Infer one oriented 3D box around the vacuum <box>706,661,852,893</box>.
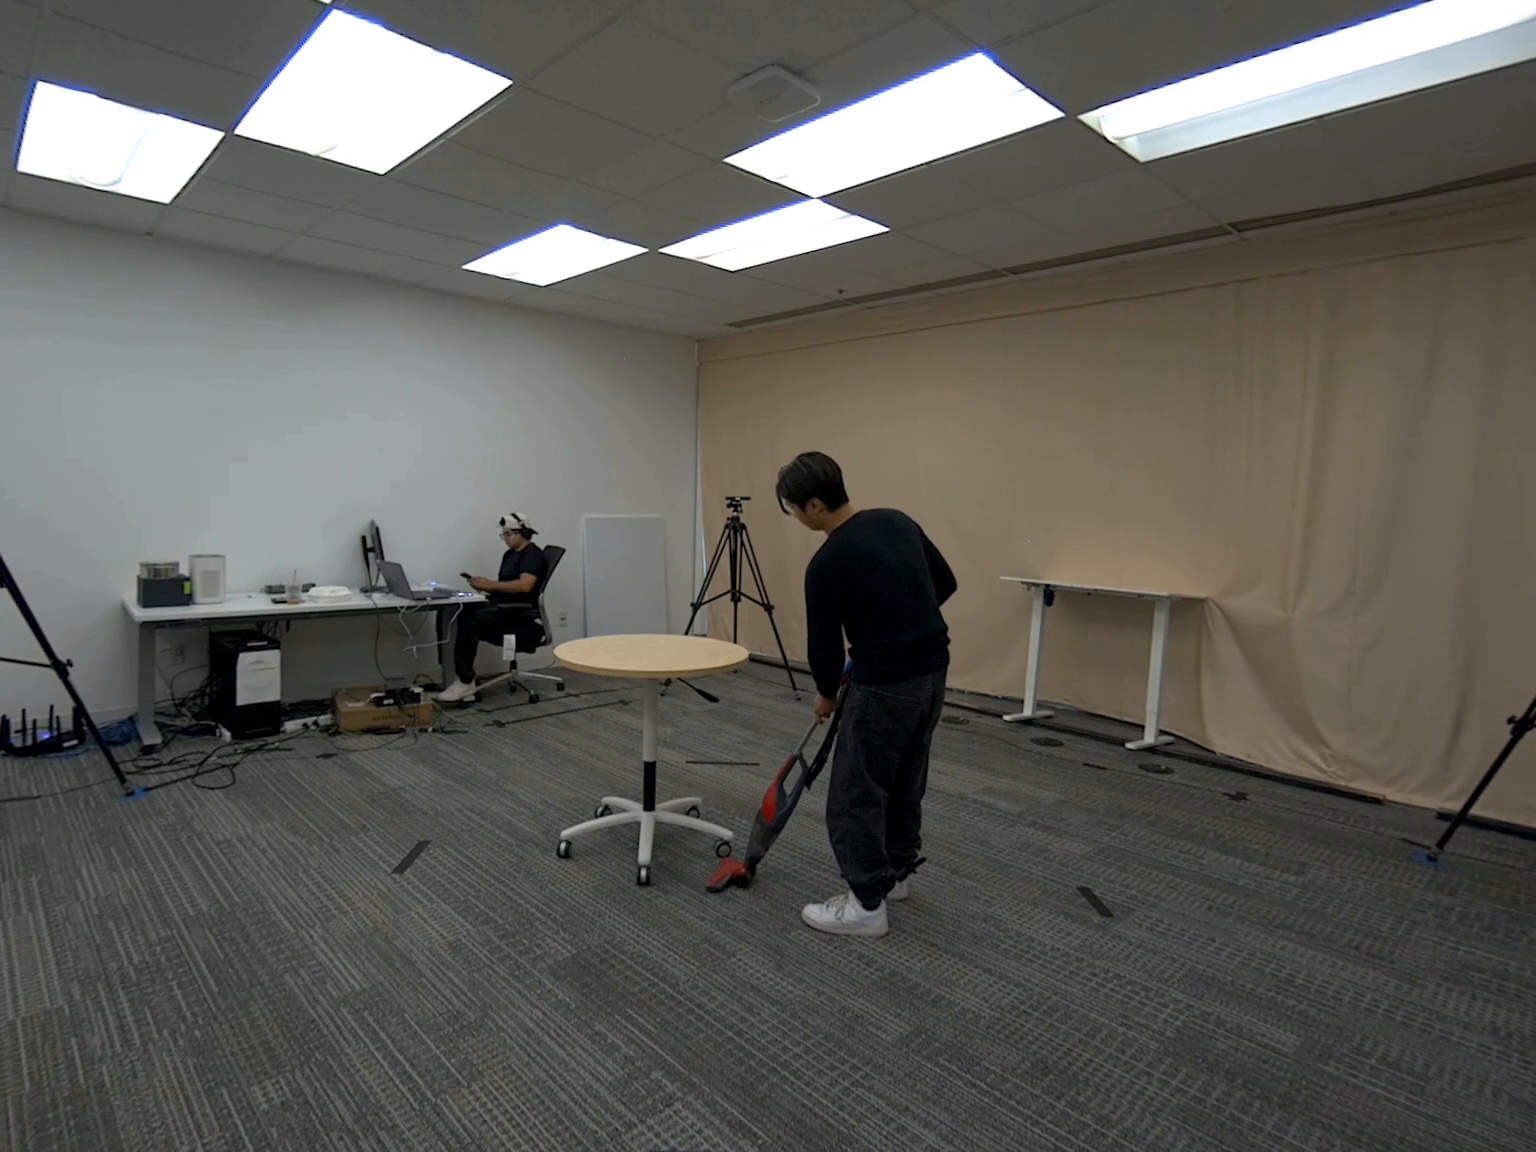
[{"bbox_3d":[0.127,0.652,2.990,0.146,1.047,0.250,33,10,11],"label":"vacuum"}]
